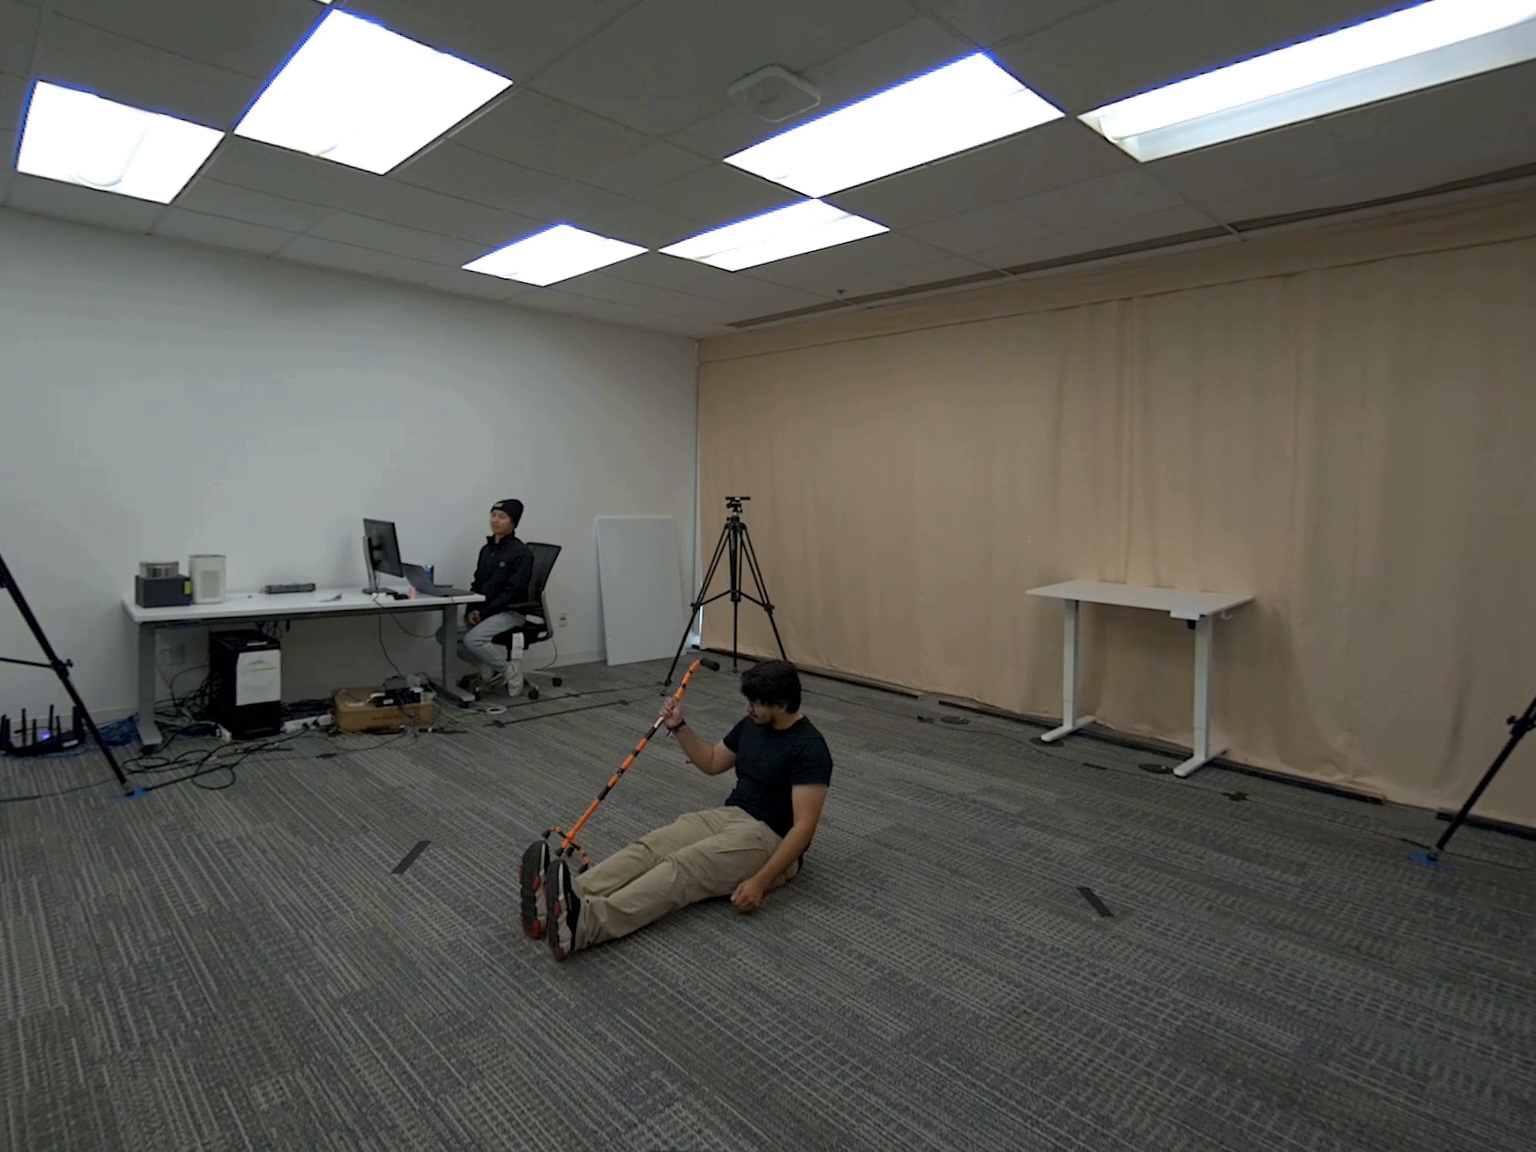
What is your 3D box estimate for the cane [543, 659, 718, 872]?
[{"bbox_3d":[-0.505,0.681,3.253,0.148,0.909,0.211,45,-16,-27],"label":"cane"}]
